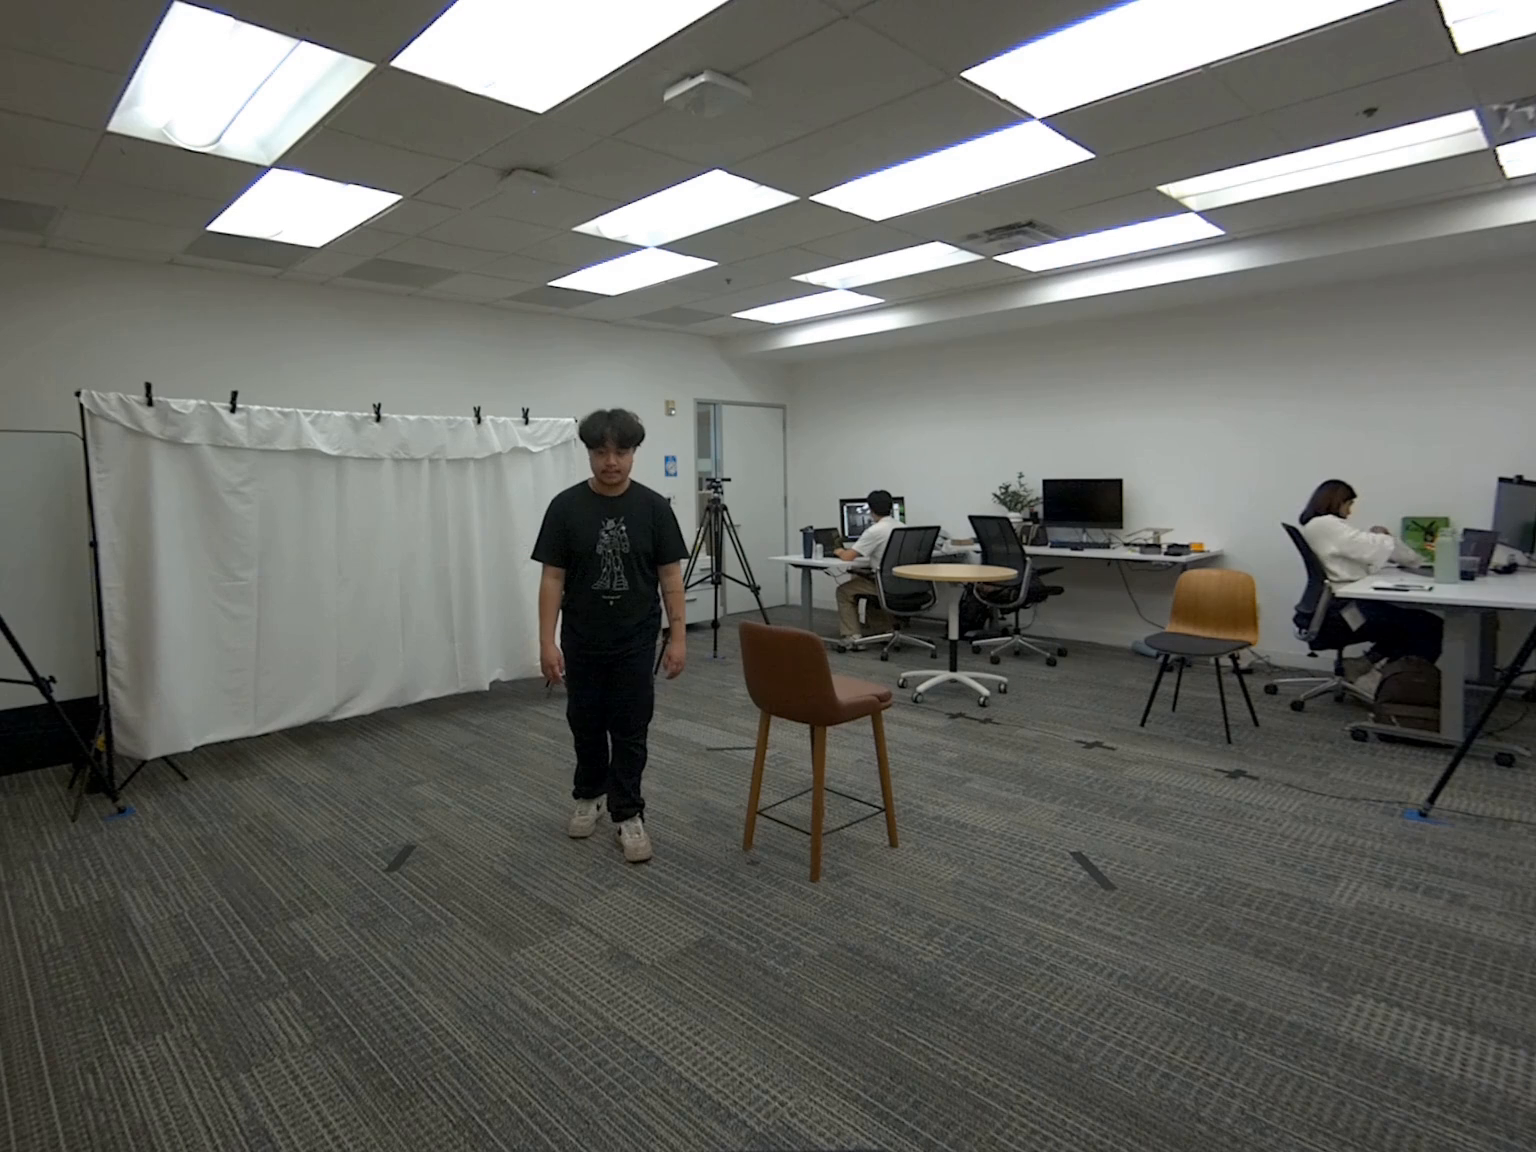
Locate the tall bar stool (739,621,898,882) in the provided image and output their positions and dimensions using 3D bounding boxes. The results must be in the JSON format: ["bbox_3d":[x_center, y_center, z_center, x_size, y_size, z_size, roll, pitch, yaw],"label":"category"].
[{"bbox_3d":[0.184,0.593,3.199,0.456,0.886,0.470,-7,7,-42],"label":"tall bar stool"}]
